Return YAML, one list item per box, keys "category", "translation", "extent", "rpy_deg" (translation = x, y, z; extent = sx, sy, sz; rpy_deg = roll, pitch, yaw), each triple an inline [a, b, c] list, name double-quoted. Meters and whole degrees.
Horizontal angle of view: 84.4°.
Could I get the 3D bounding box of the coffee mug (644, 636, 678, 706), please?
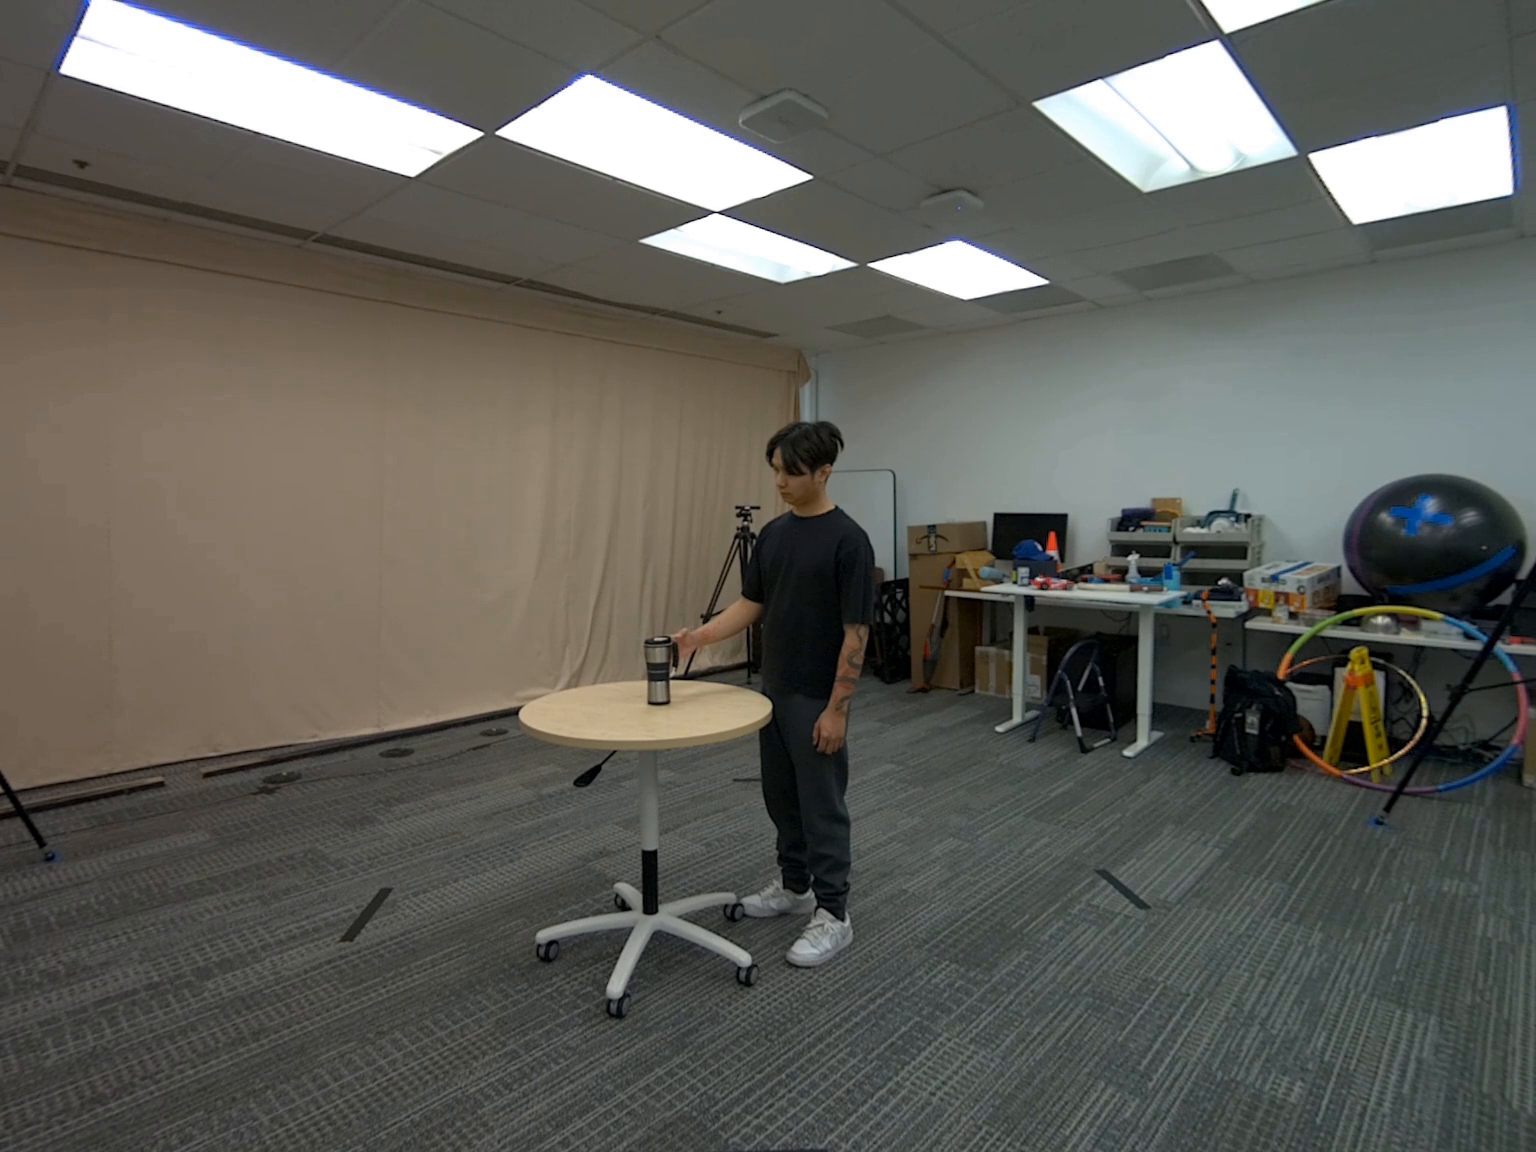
- category: "coffee mug"
  translation: [-0.315, 0.298, 2.612]
  extent: [0.119, 0.203, 0.090]
  rpy_deg: [-5, 1, -26]
